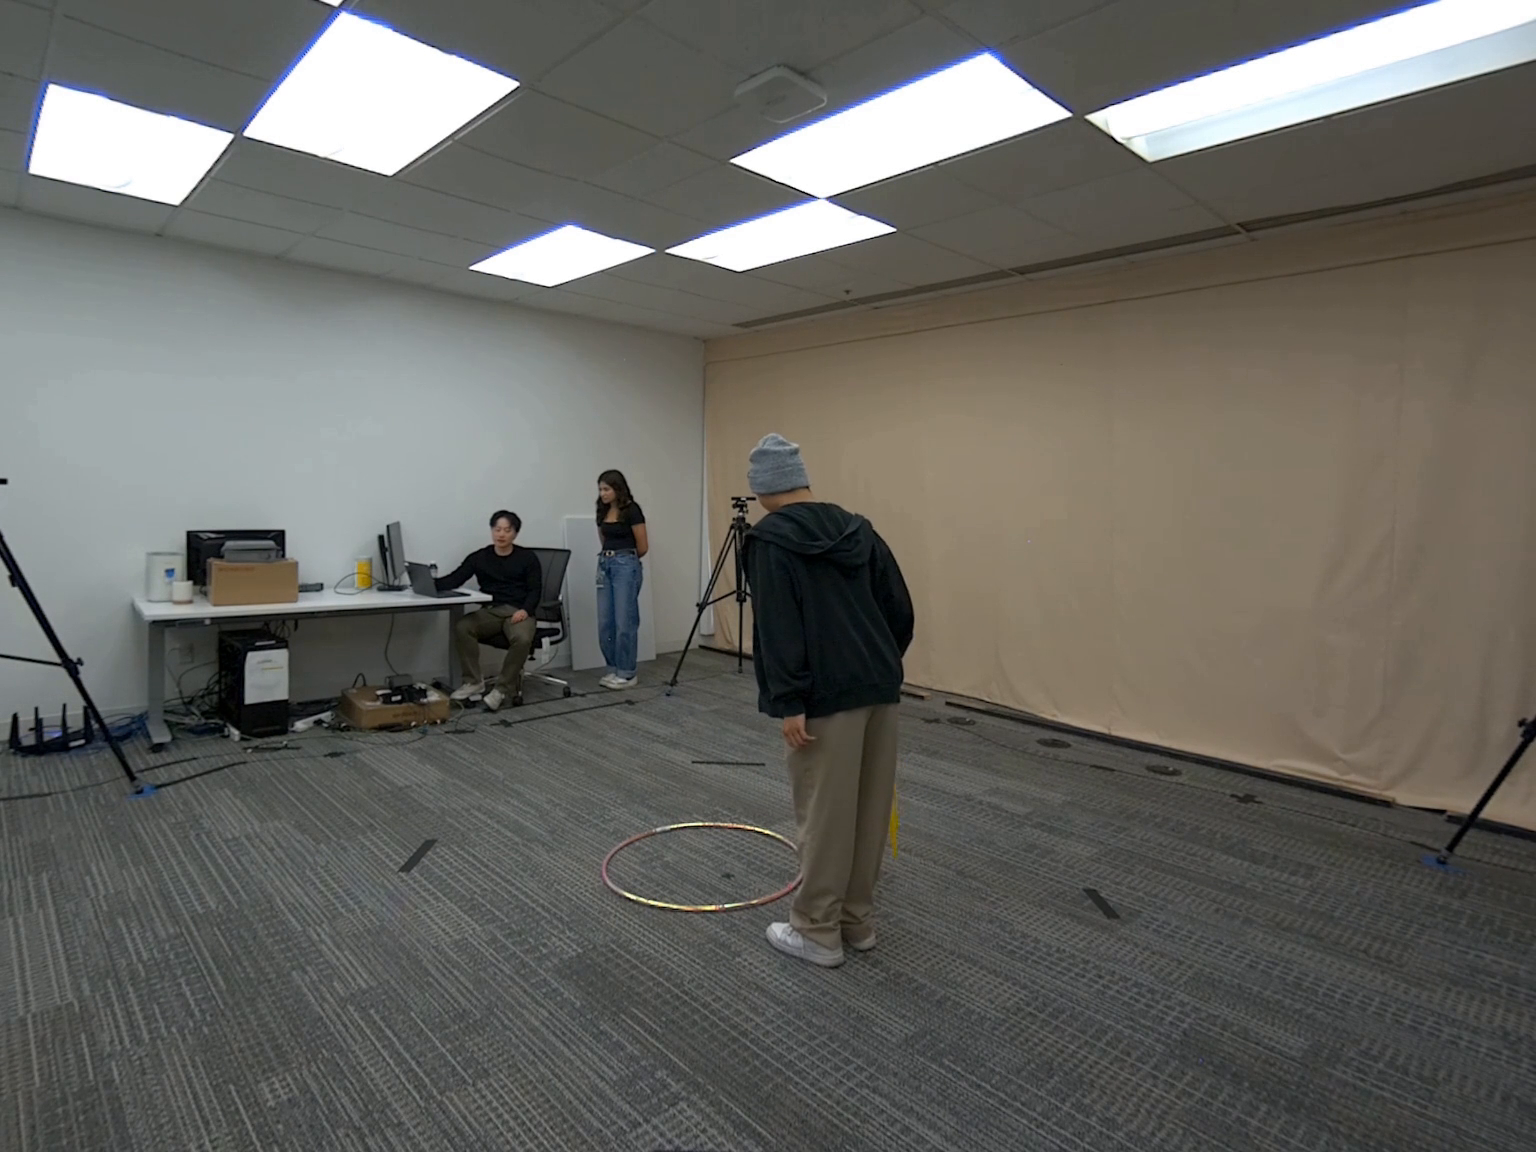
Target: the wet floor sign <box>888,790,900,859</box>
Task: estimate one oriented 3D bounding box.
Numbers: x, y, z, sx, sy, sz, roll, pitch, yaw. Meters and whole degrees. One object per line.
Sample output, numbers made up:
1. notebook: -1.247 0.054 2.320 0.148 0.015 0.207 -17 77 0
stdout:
1. wet floor sign: 0.355 0.627 3.003 0.292 0.641 0.282 2 11 10
